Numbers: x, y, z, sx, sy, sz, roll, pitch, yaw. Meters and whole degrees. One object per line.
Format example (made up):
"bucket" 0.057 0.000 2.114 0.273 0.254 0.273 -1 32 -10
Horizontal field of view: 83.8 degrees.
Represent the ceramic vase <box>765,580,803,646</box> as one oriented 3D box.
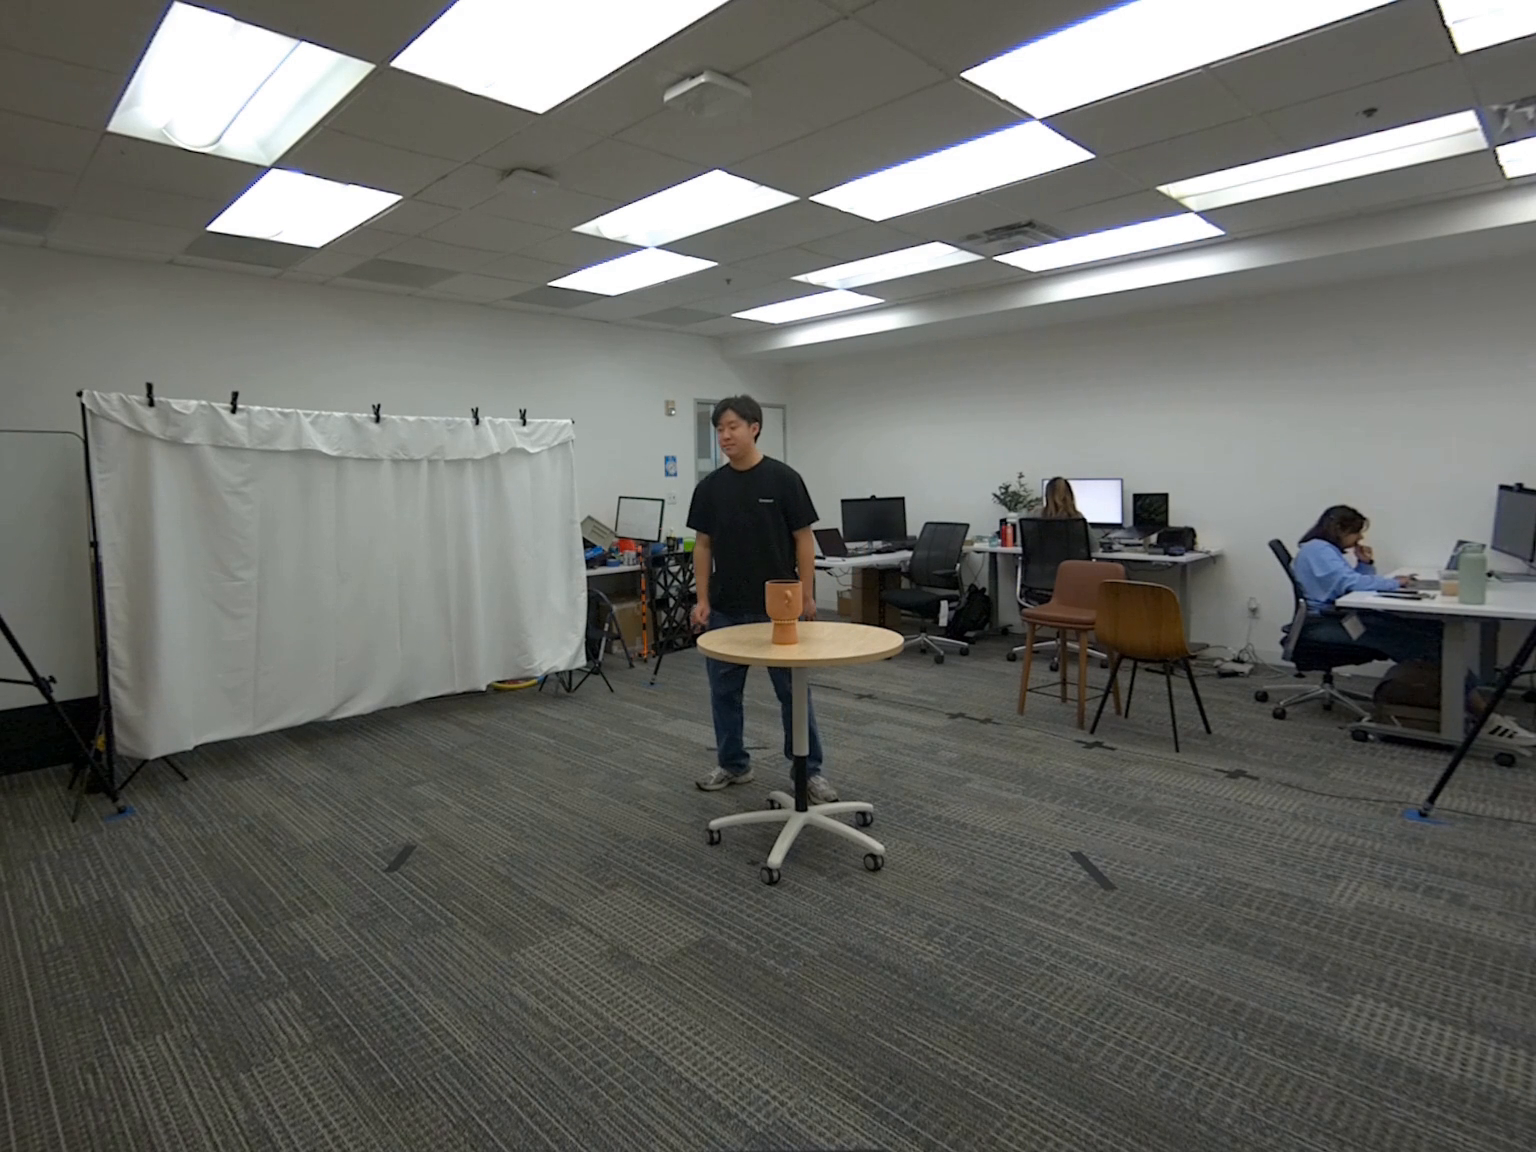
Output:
"ceramic vase" 0.058 0.135 3.108 0.138 0.219 0.155 -1 4 29
